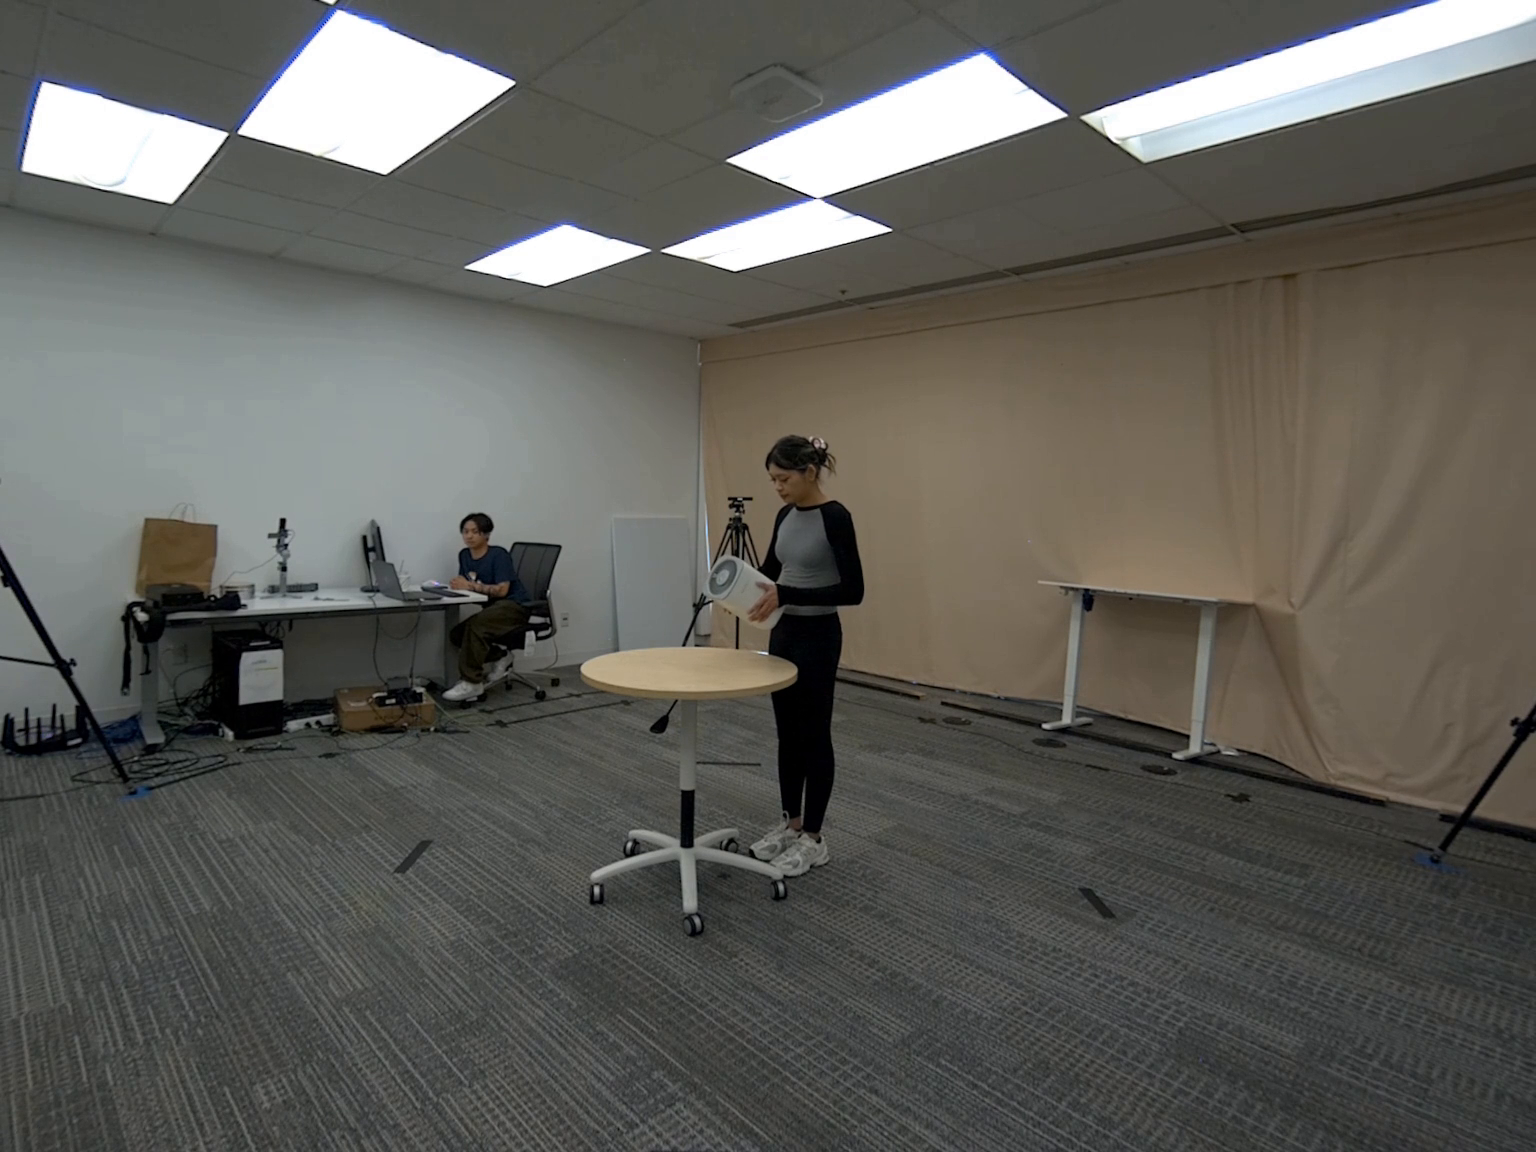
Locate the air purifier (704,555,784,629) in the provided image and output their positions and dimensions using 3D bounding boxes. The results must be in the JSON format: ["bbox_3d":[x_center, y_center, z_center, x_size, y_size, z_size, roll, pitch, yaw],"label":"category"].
[{"bbox_3d":[-0.080,0.066,3.049,0.258,0.171,0.176,34,-13,-34],"label":"air purifier"}]
